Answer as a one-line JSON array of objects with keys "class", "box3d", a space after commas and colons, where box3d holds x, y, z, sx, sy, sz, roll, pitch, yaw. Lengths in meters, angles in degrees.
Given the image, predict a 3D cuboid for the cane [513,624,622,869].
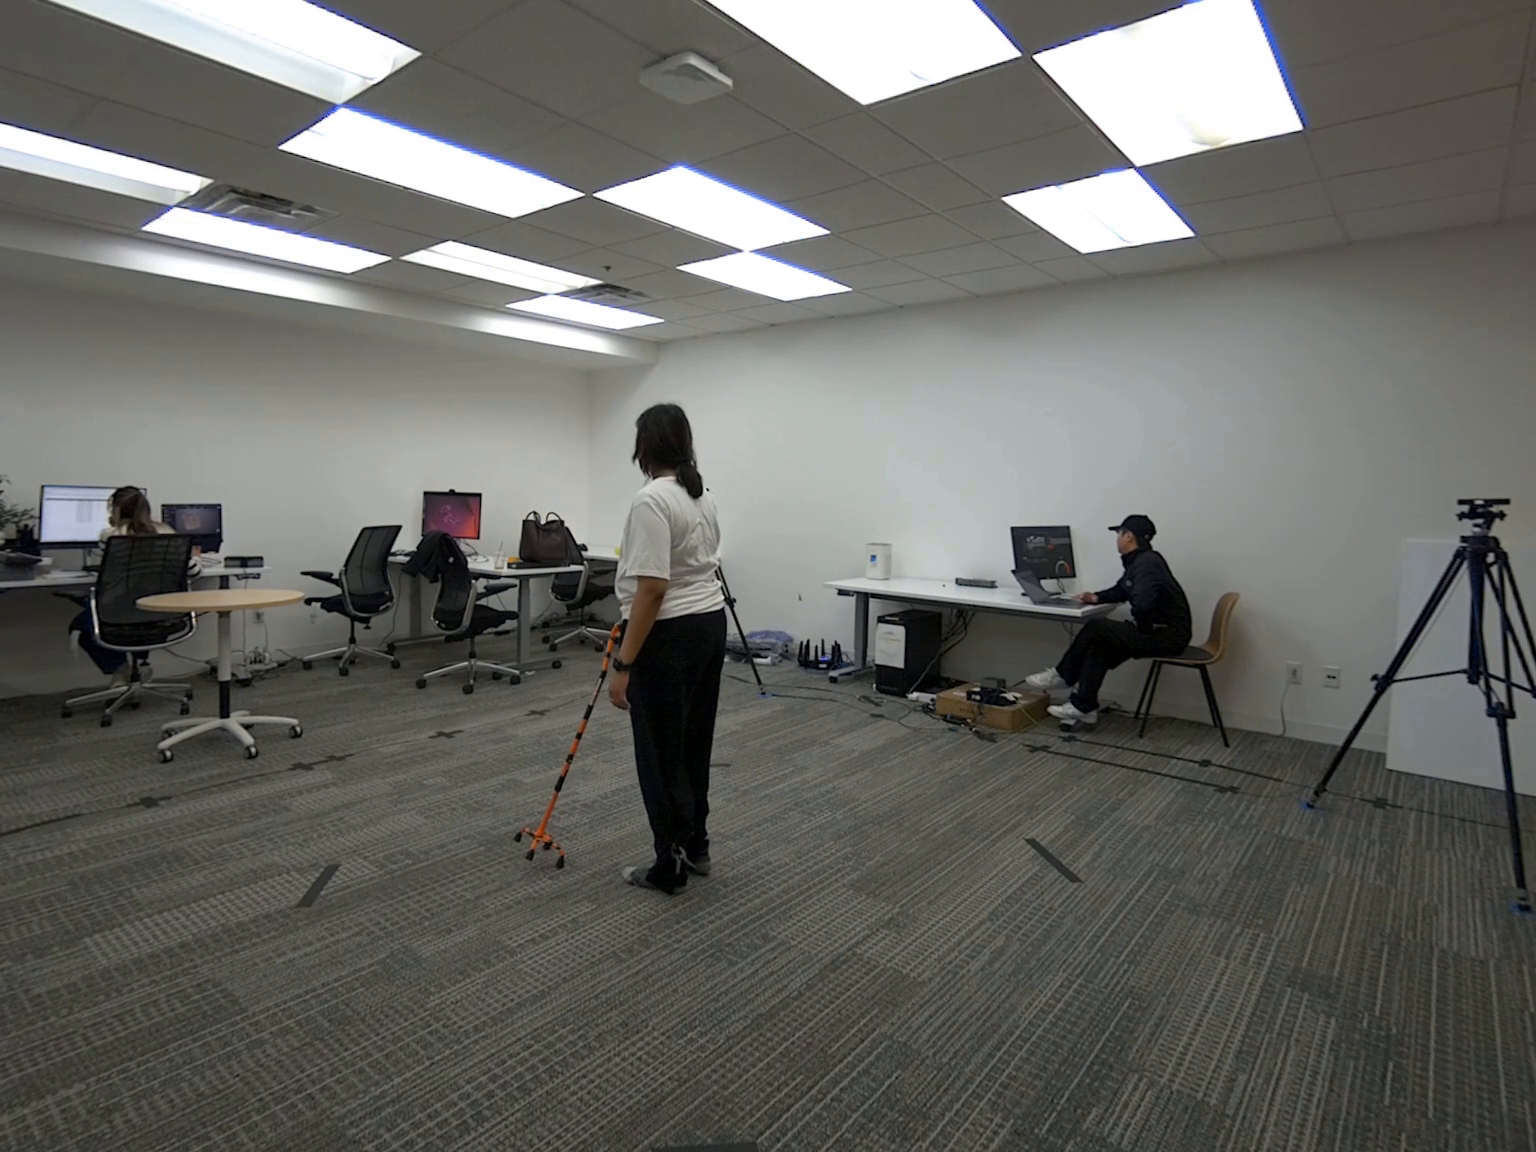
[{"class": "cane", "box3d": [-0.719, 0.611, 3.210, 0.147, 0.911, 0.212, 23, -8, -28]}]
